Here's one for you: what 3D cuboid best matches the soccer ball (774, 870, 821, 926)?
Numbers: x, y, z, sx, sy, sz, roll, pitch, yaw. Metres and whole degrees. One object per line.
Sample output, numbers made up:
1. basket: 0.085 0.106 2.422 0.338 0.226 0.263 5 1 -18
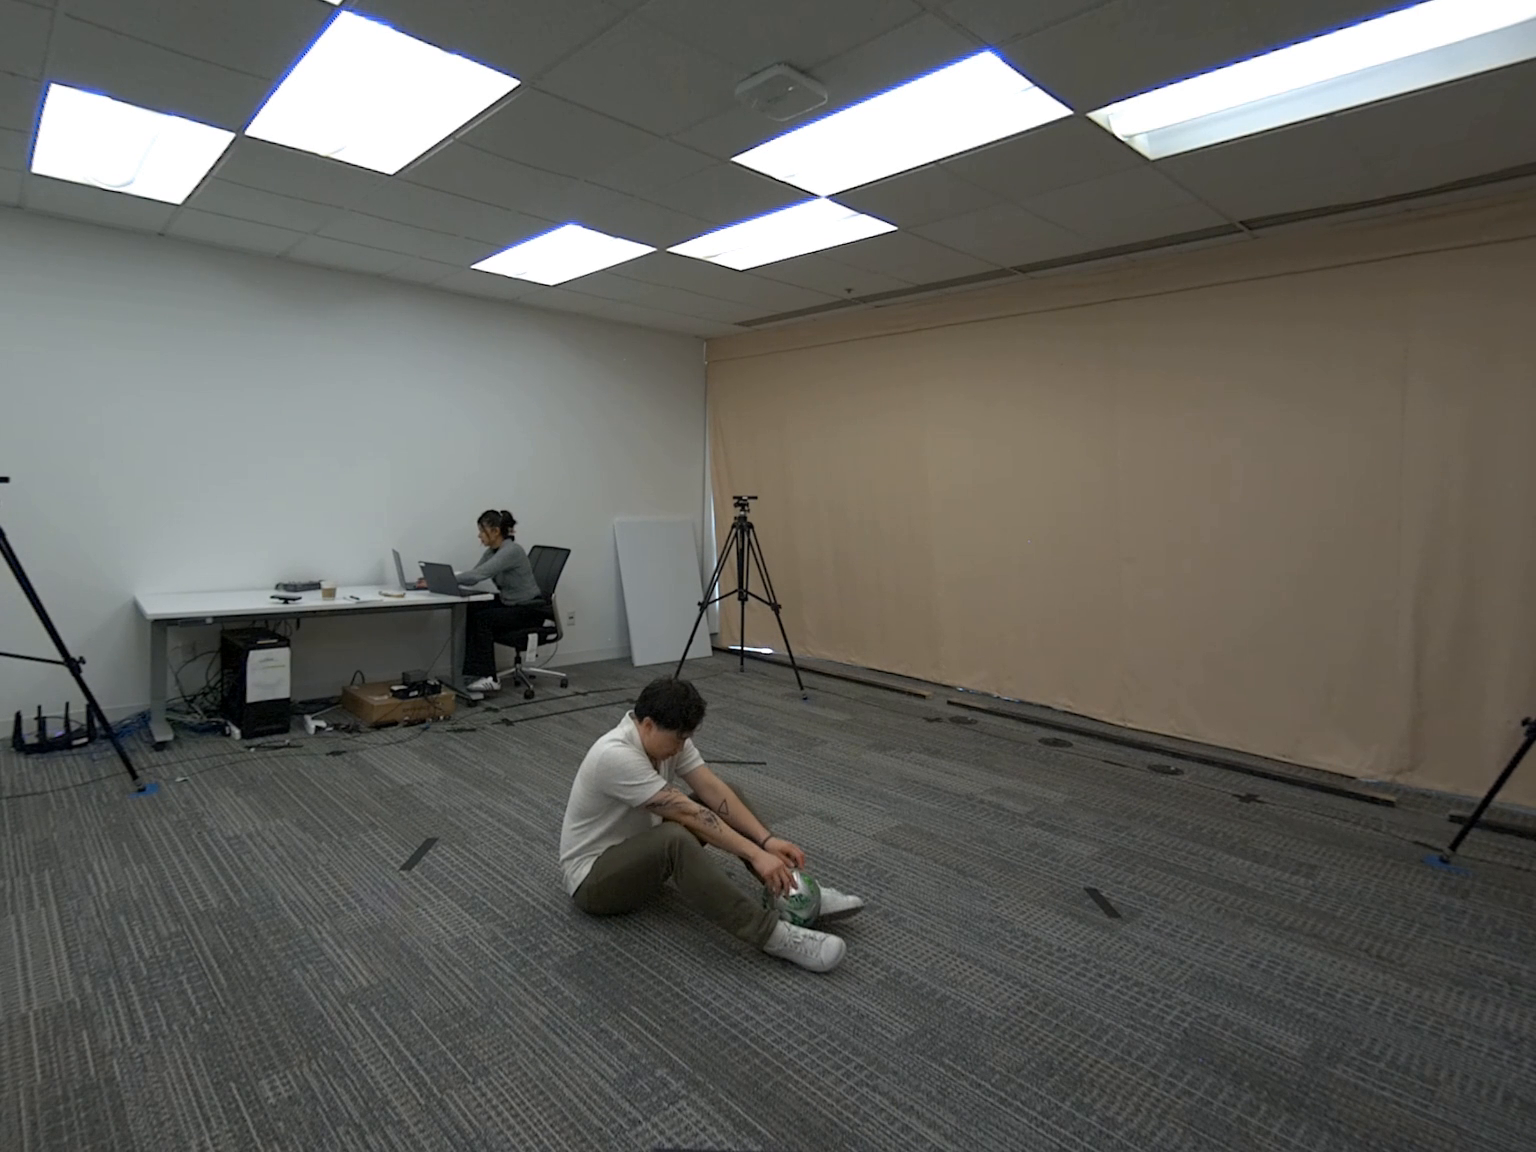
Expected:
1. soccer ball: 0.053 1.022 2.639 0.187 0.187 0.188 1 4 -1
